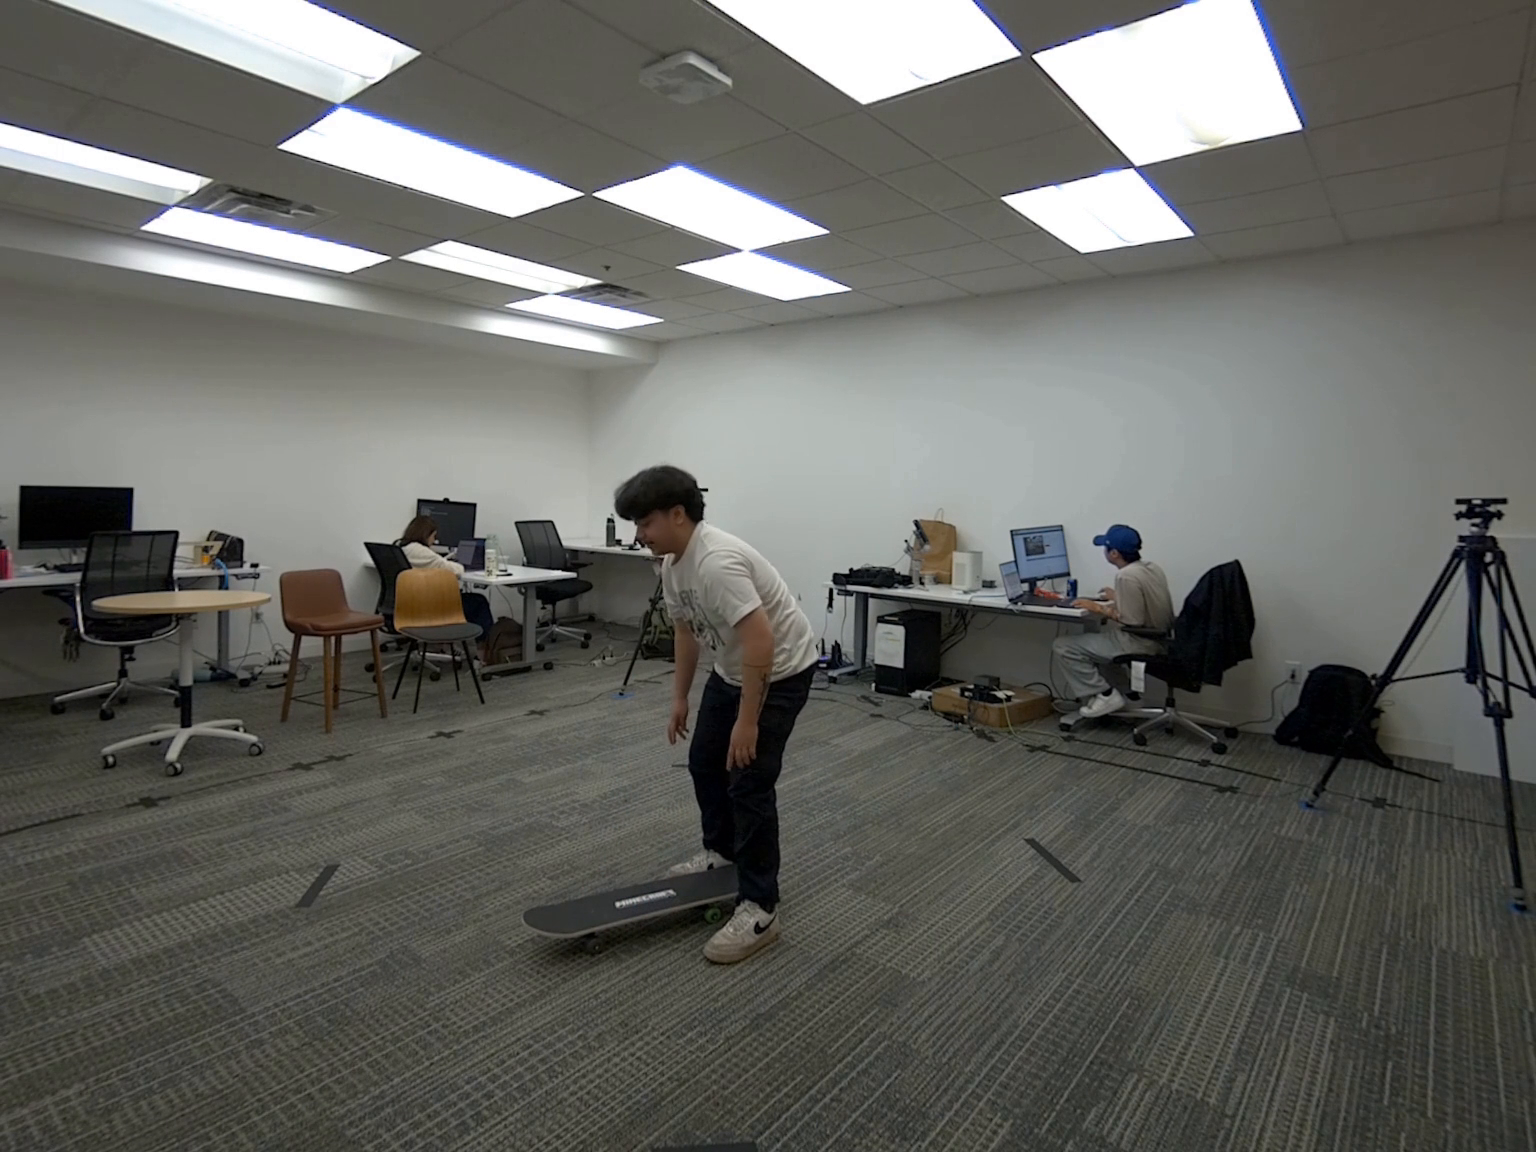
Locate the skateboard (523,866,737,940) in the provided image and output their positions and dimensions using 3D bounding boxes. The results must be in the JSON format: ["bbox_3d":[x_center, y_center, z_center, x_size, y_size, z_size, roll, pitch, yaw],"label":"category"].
[{"bbox_3d":[-0.392,1.053,2.691,0.765,0.110,0.199,-2,5,-29],"label":"skateboard"}]
